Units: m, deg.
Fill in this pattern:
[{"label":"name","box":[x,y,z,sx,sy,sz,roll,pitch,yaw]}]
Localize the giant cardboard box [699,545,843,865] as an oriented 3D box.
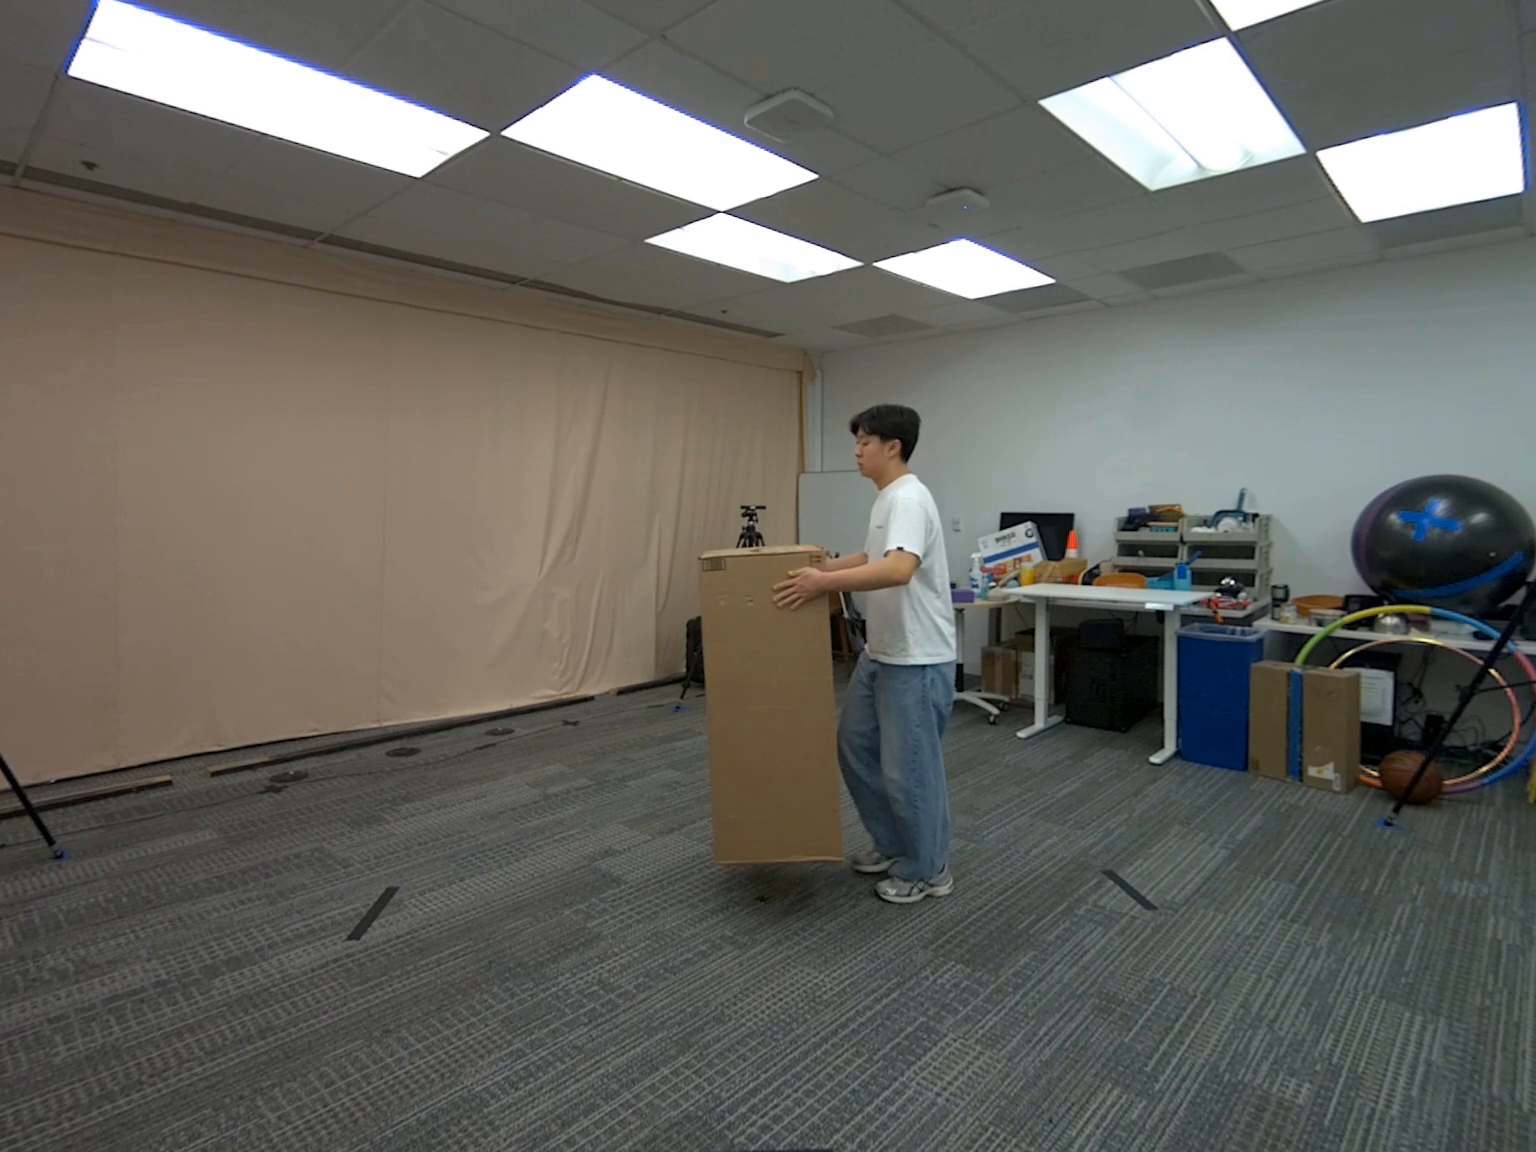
[{"label":"giant cardboard box","box":[0.005,0.428,3.025,0.426,1.025,0.578,-3,2,-1]}]
